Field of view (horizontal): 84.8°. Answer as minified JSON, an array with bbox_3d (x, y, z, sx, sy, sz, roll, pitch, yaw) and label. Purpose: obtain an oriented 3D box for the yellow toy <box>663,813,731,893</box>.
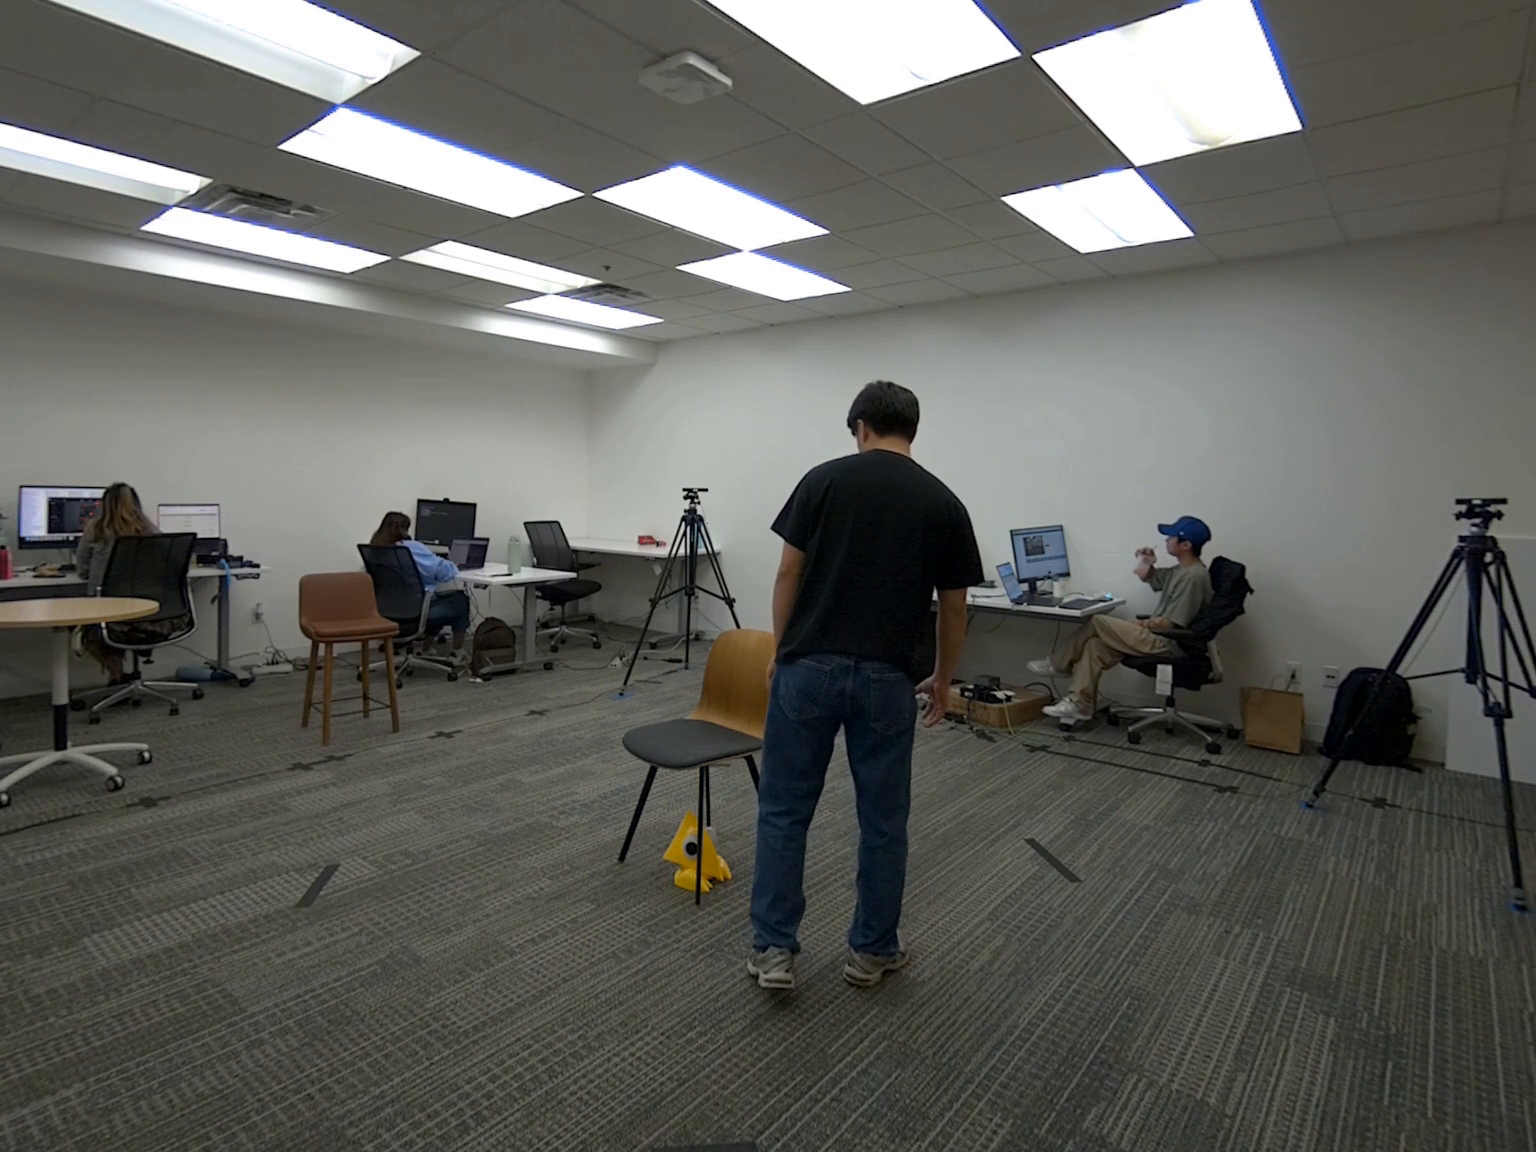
[{"bbox_3d":[-0.247,0.961,3.039,0.199,0.230,0.199,4,4,38],"label":"yellow toy"}]
